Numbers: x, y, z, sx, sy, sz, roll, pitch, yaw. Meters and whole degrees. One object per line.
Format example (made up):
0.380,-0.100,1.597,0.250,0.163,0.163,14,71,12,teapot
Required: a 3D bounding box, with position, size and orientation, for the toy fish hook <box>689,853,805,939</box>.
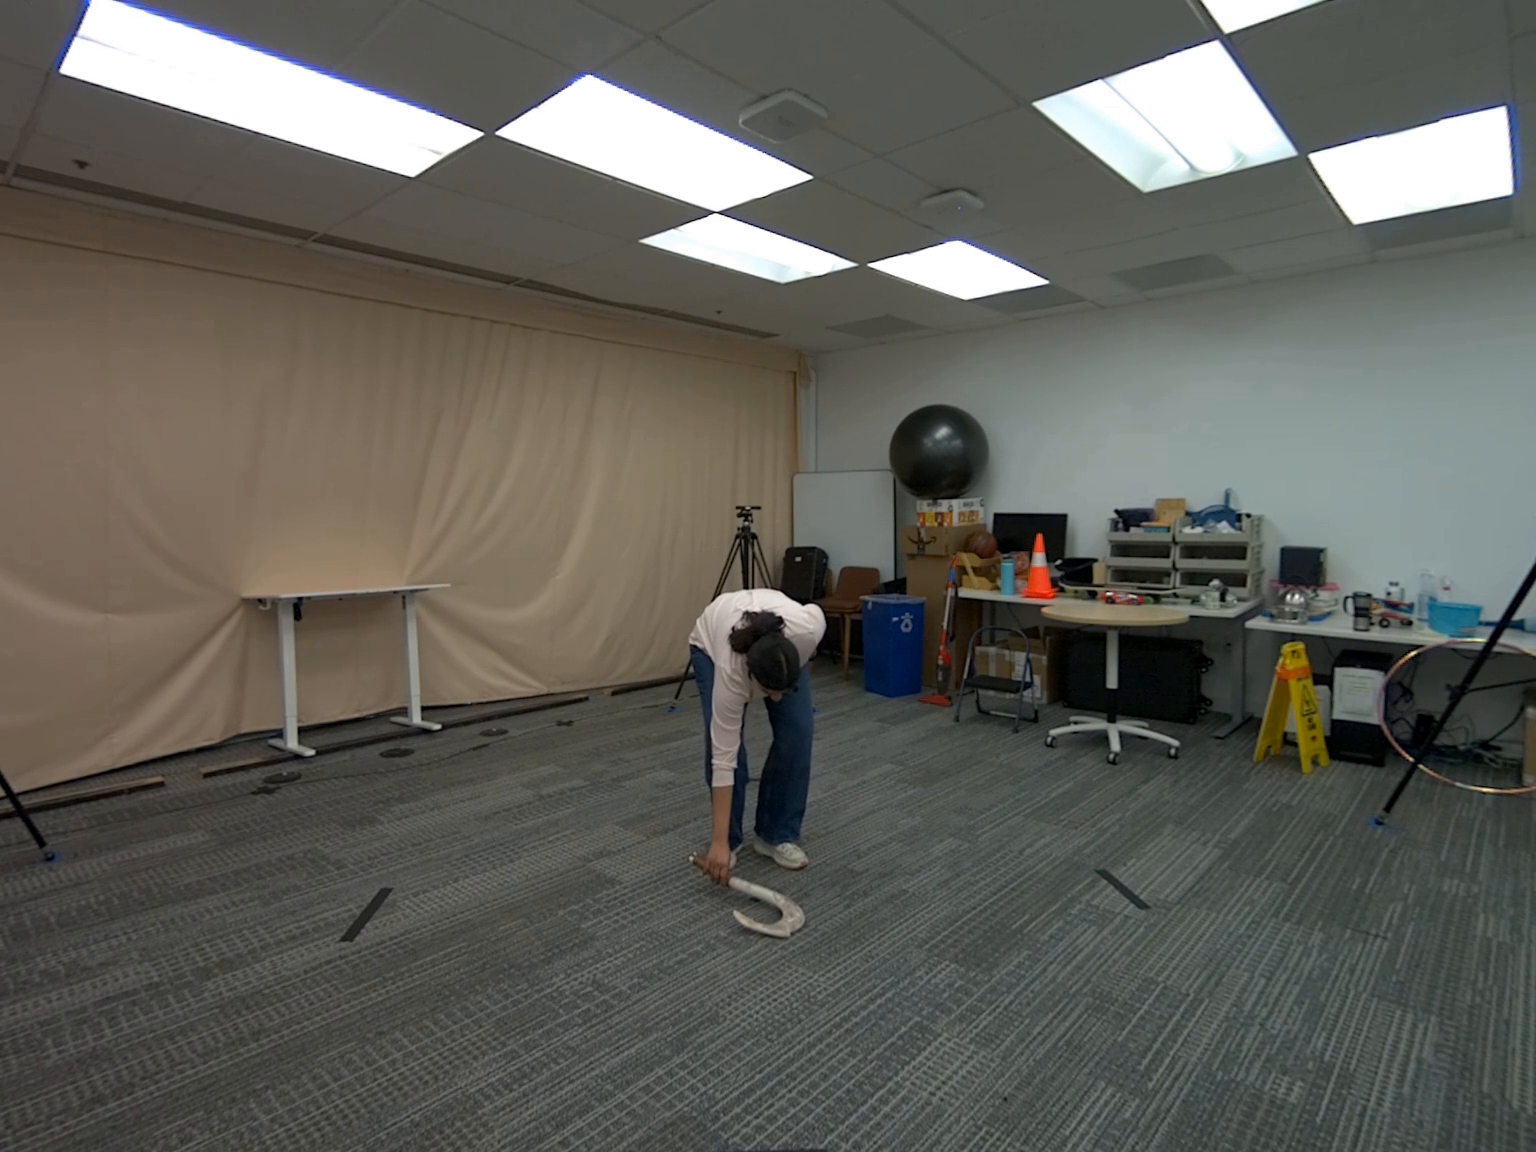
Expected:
-0.110,1.081,2.898,0.524,0.048,0.218,16,10,36,toy fish hook
